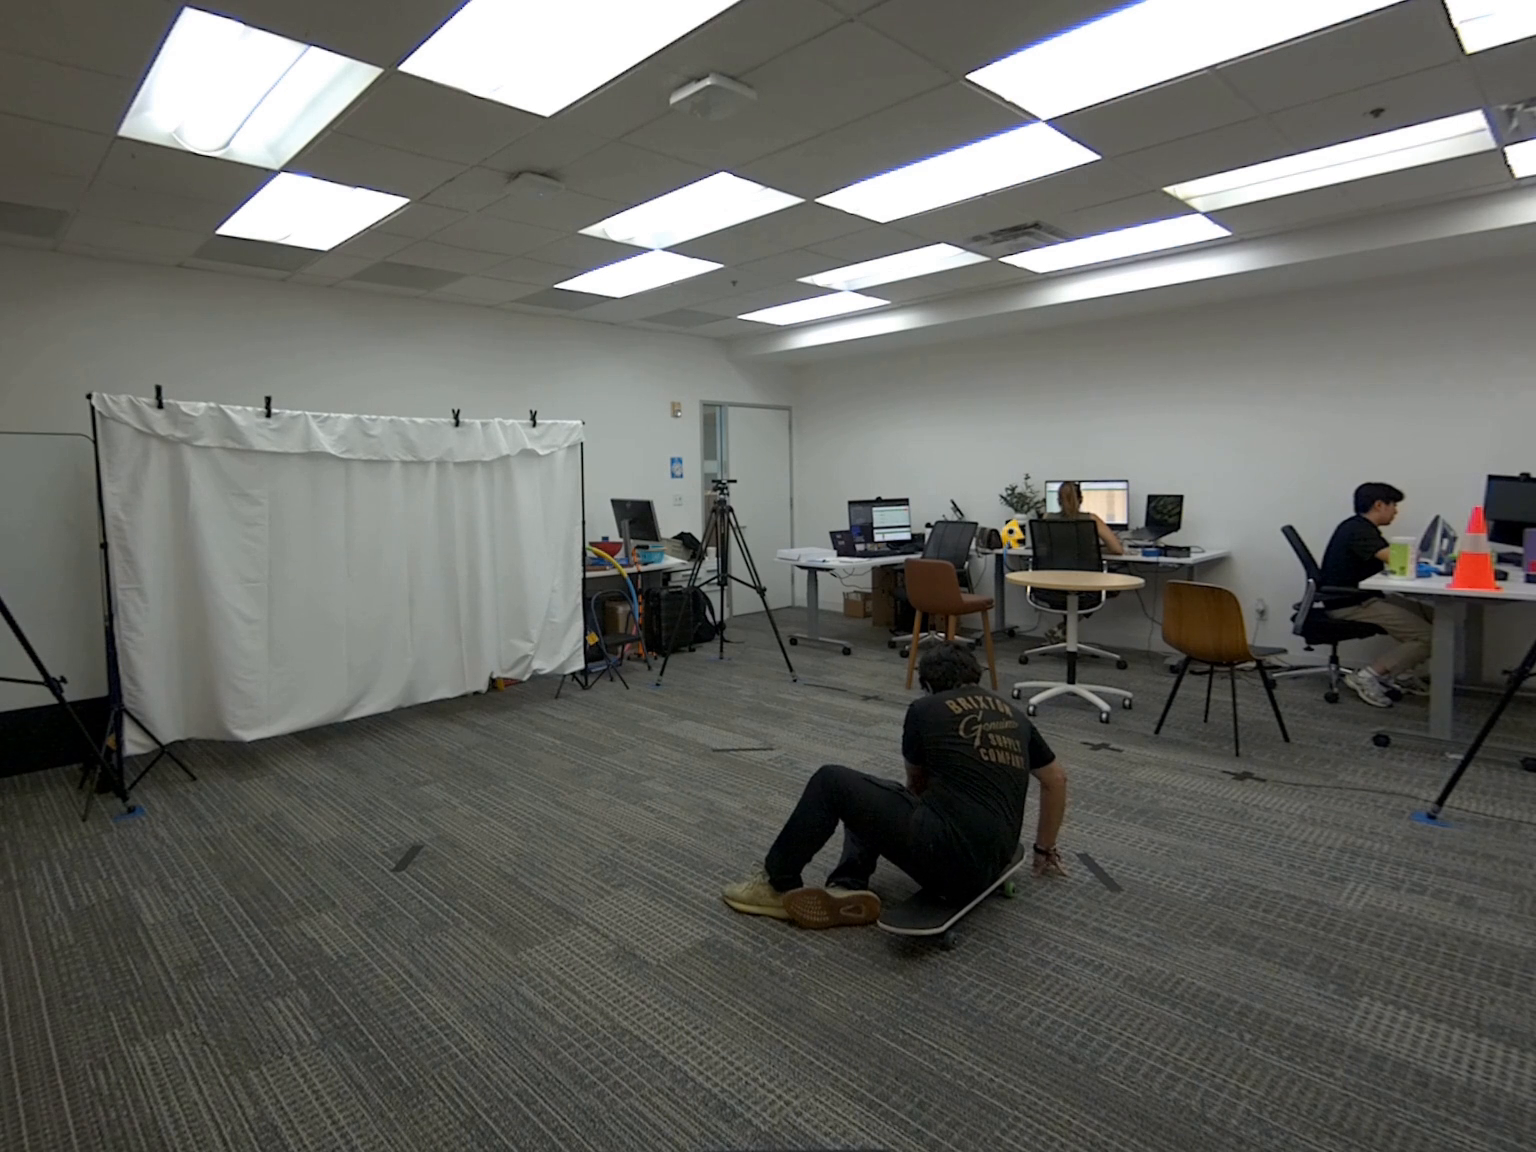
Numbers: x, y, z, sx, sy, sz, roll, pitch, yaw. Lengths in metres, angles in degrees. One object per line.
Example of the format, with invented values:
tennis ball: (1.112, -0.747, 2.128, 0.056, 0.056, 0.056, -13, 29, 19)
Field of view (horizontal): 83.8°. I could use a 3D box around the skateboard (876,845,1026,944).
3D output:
skateboard: (0.603, 1.017, 2.732, 0.198, 0.110, 0.765, -4, 2, 41)
